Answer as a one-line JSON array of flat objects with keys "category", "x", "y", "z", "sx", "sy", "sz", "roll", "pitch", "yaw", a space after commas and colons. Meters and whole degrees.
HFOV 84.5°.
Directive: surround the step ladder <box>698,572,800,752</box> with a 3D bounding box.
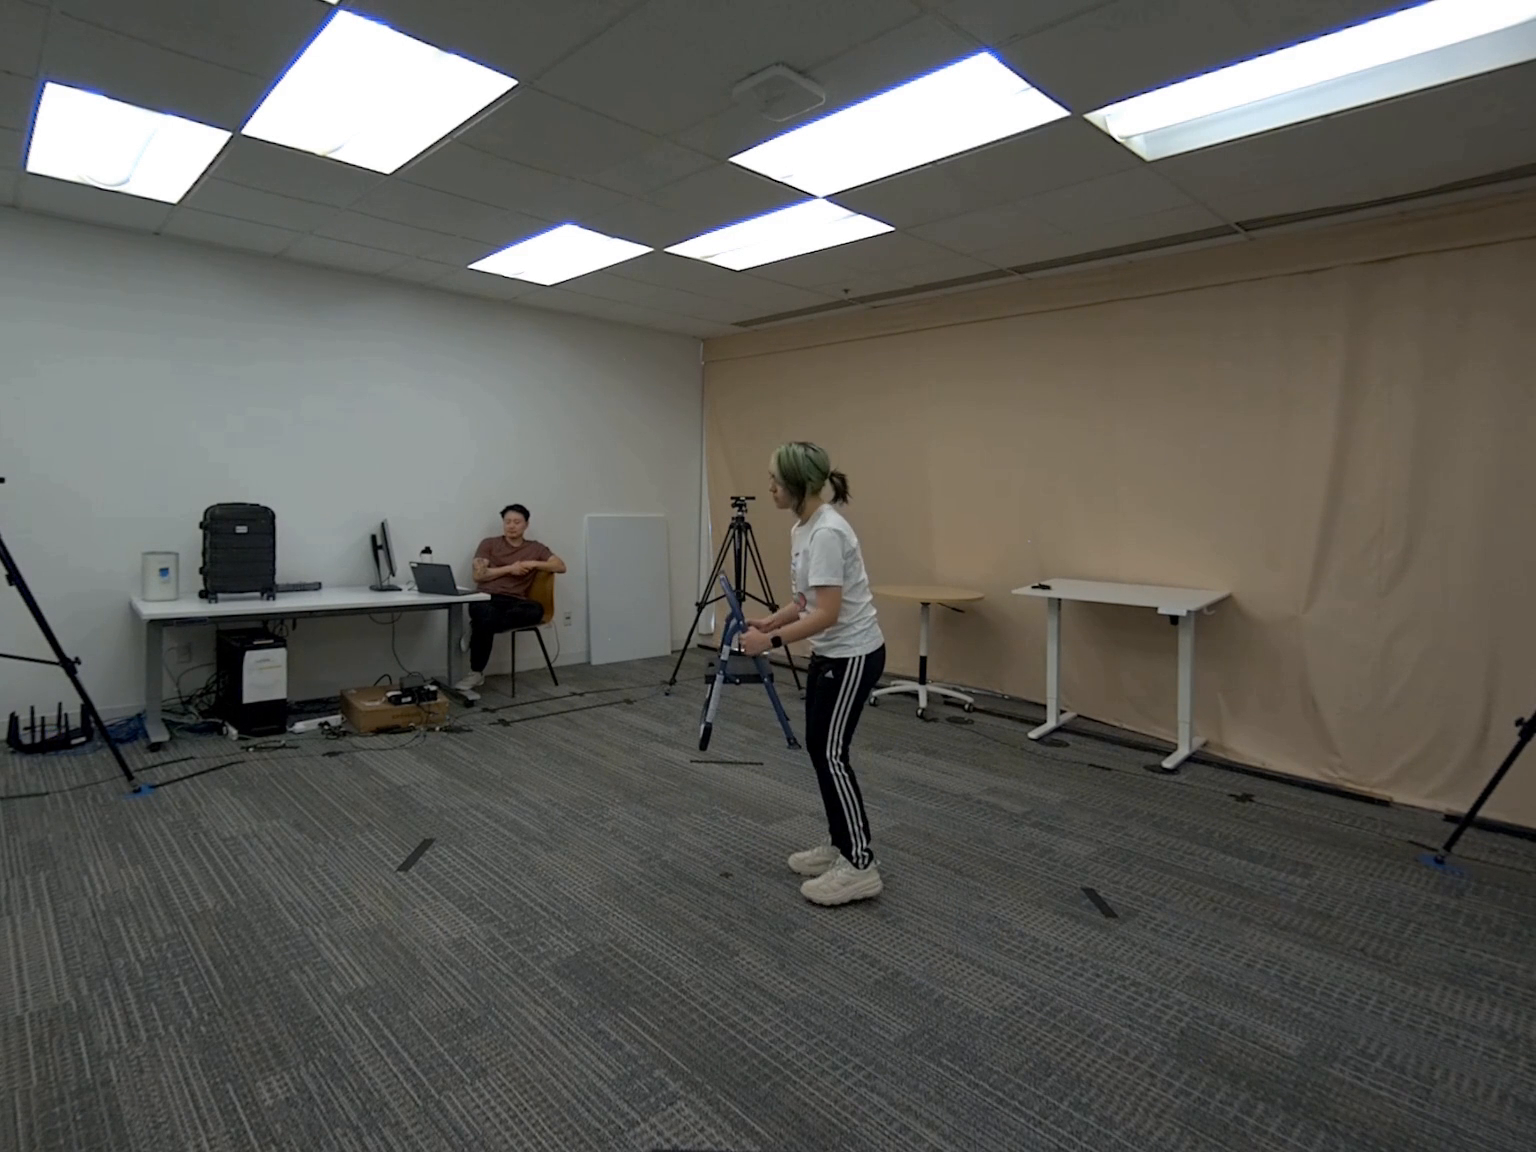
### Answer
[{"category": "step ladder", "x": -0.089, "y": 0.298, "z": 3.093, "sx": 0.348, "sy": 0.605, "sz": 0.432, "roll": -2, "pitch": 2, "yaw": -4}]
